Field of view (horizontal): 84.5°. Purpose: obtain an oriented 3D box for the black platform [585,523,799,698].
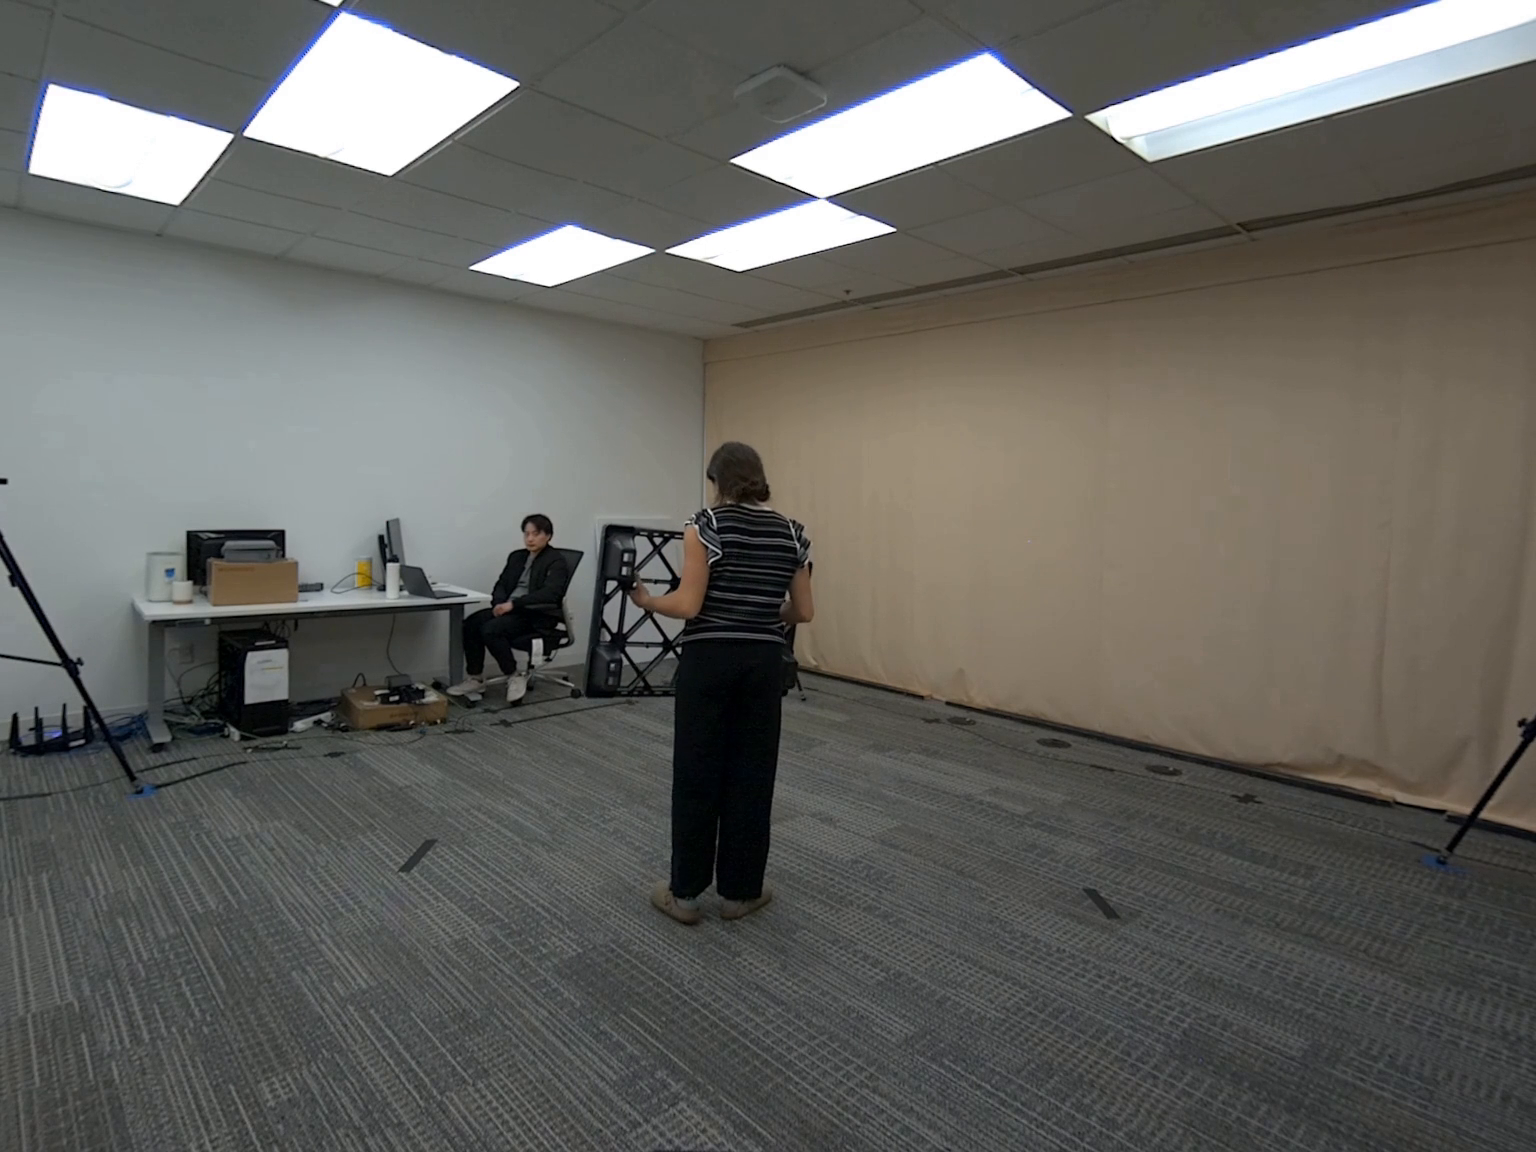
[{"bbox_3d":[-0.224,0.151,2.967,0.790,0.602,0.147,4,8,-26],"label":"black platform"}]
